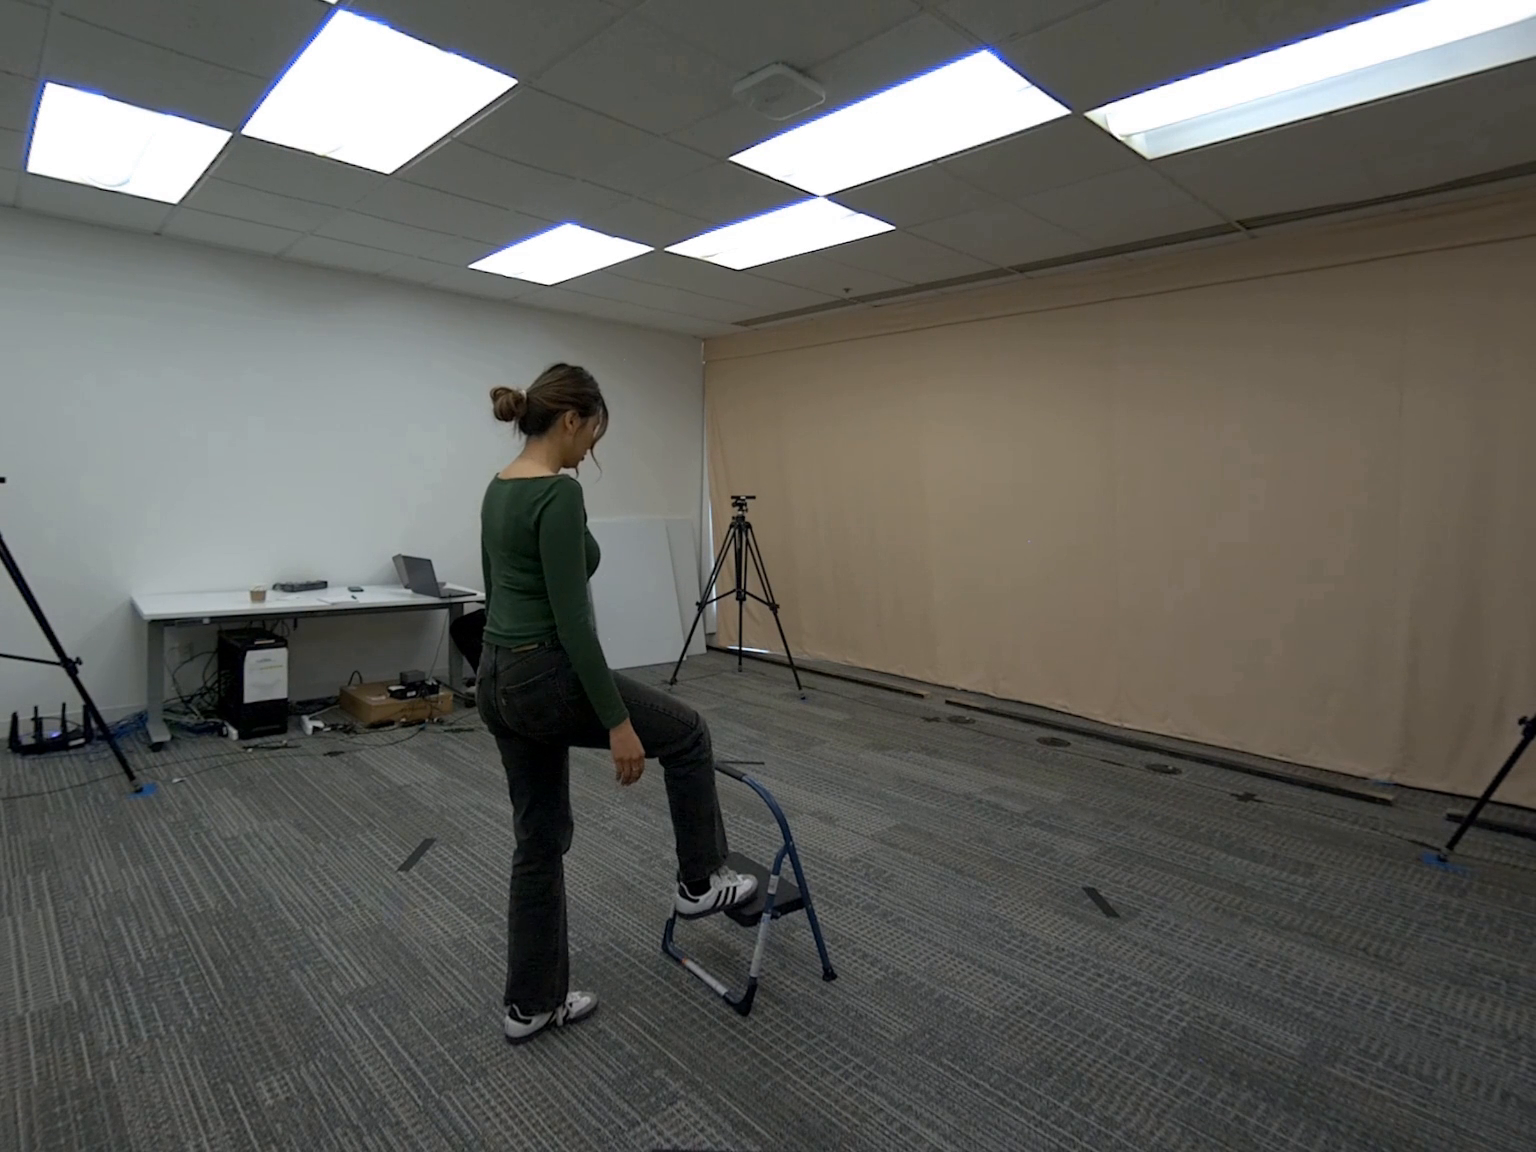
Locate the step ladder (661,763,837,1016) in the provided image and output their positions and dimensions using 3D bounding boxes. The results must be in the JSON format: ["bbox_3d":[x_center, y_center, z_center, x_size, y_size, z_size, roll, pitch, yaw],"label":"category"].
[{"bbox_3d":[-0.064,0.857,2.495,0.341,0.604,0.441,-2,5,-40],"label":"step ladder"}]
